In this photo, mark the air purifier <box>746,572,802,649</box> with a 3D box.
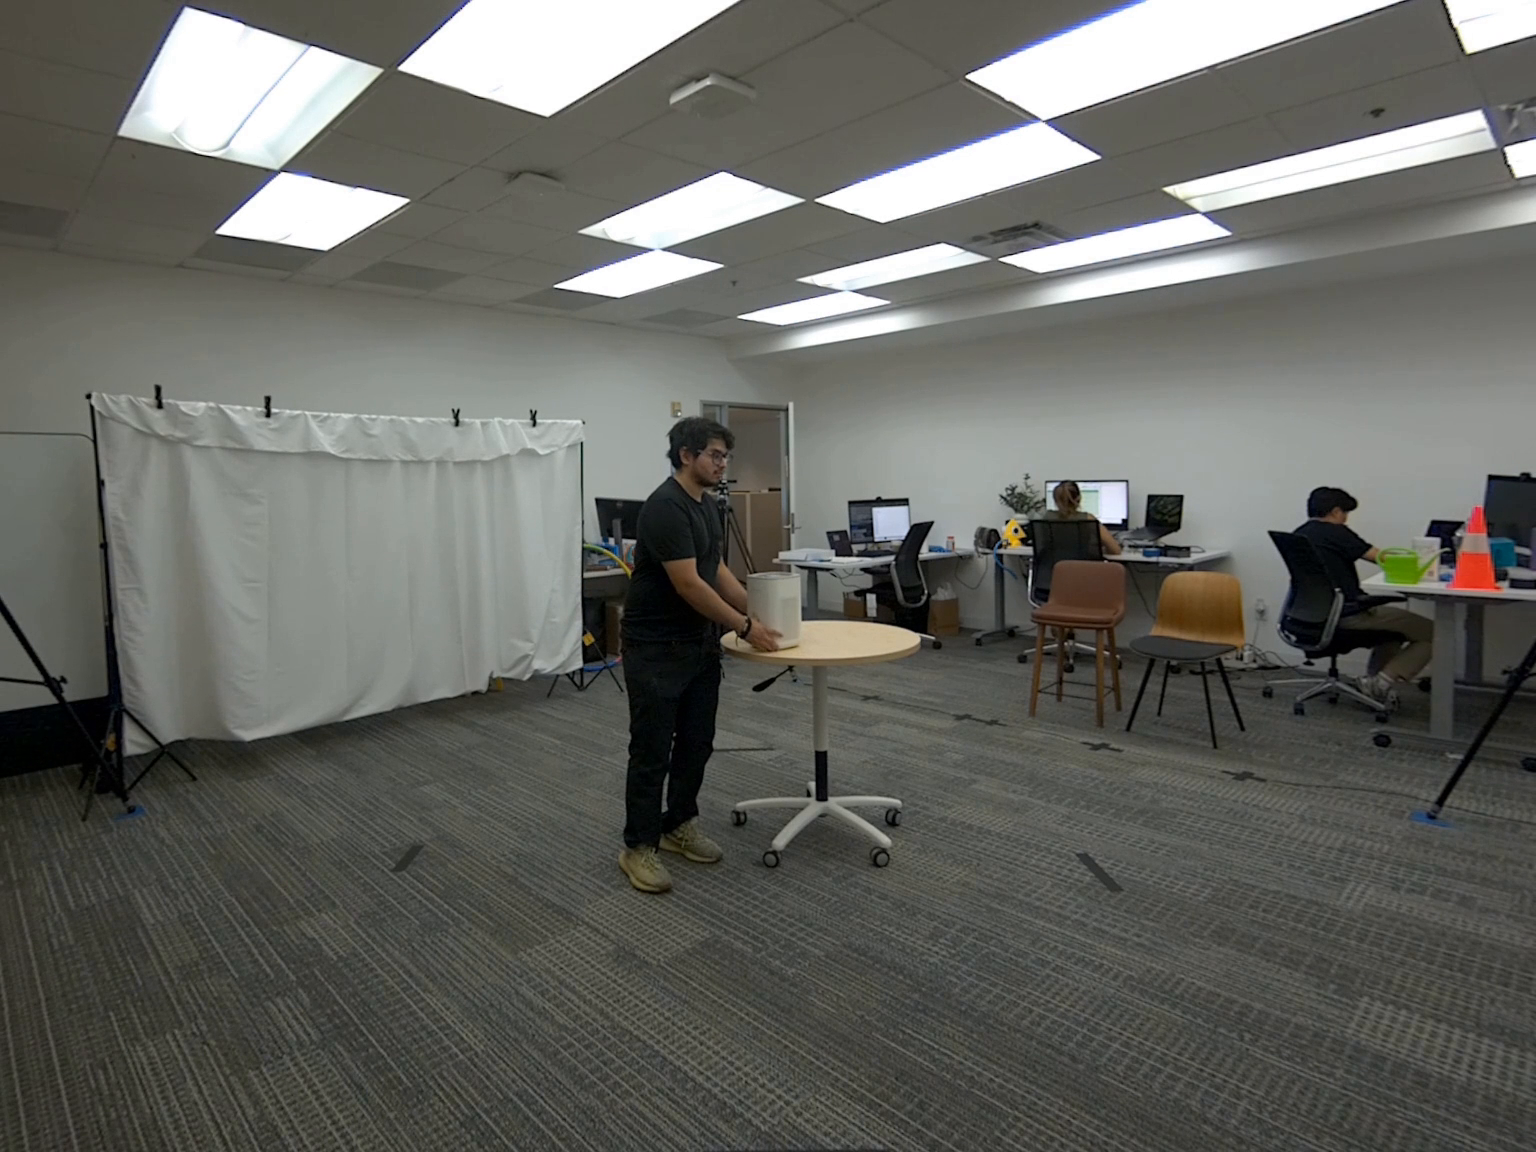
[{"bbox_3d":[0.020,0.124,3.153,0.167,0.264,0.176,-6,6,-42],"label":"air purifier"}]
